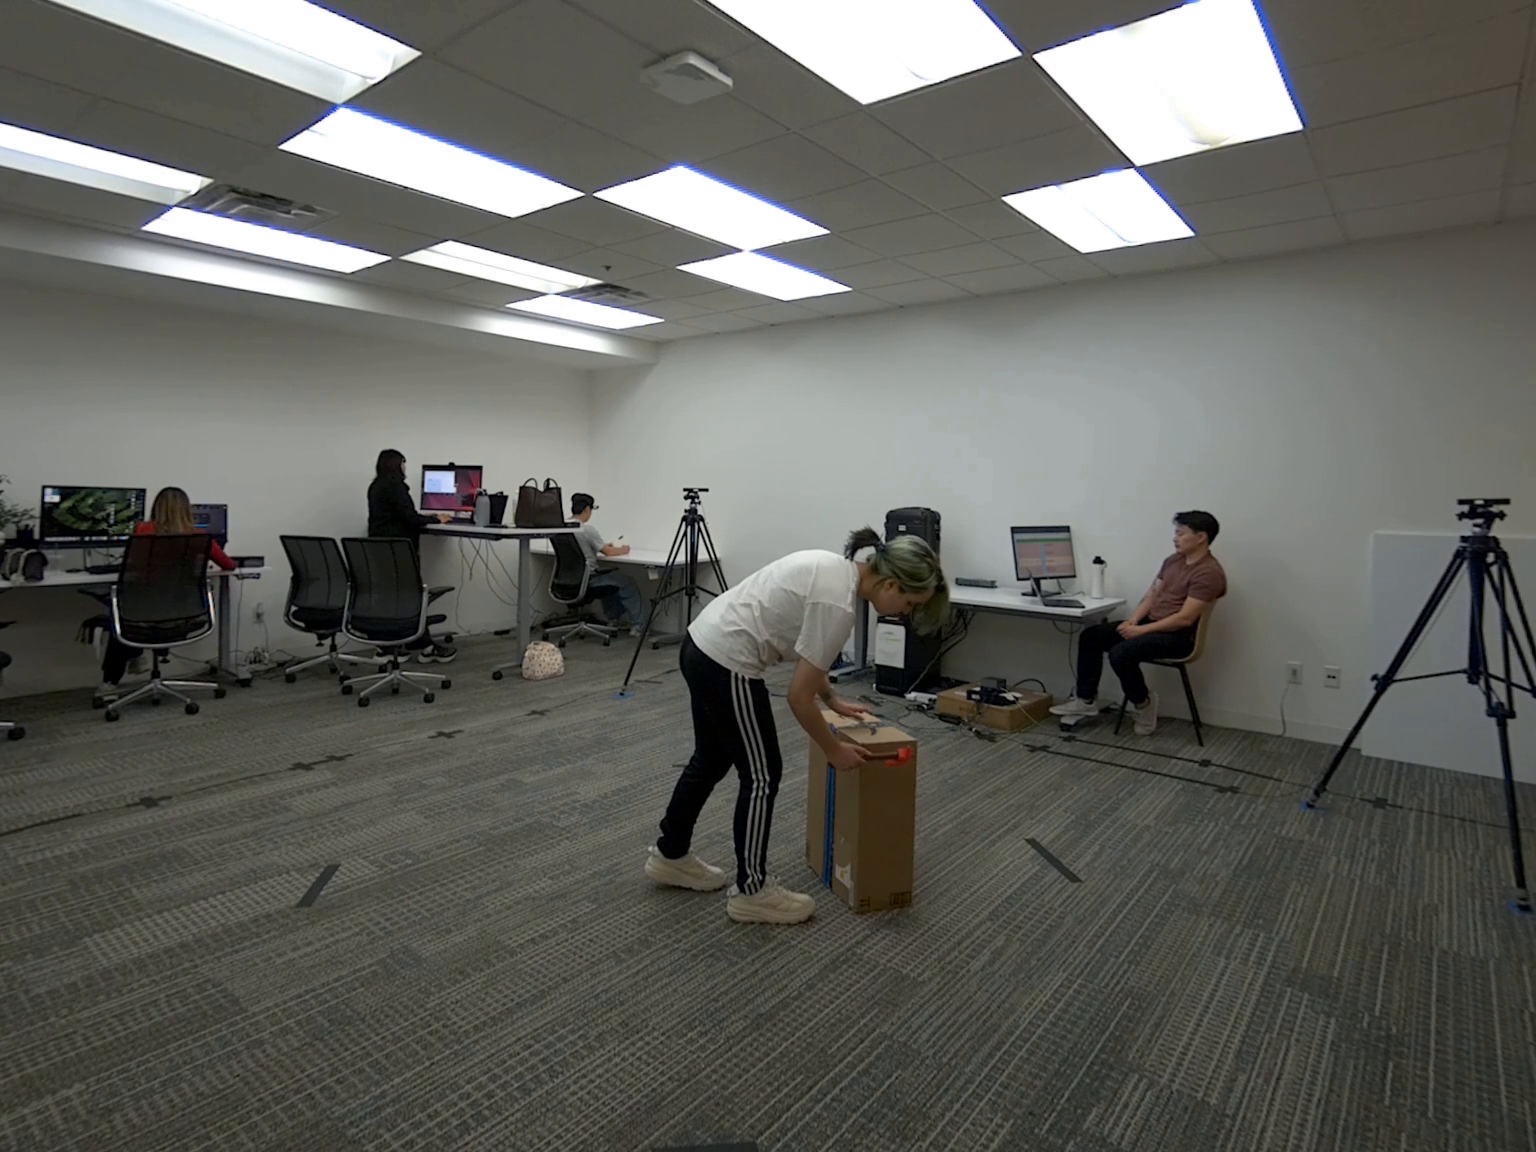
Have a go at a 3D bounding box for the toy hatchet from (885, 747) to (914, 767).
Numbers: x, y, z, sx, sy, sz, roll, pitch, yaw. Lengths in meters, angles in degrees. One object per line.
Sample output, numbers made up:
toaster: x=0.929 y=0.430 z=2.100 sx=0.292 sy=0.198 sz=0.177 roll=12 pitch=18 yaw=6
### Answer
toy hatchet: x=0.335 y=0.600 z=2.766 sx=0.273 sy=0.030 sz=0.126 roll=-12 pitch=-36 yaw=12
